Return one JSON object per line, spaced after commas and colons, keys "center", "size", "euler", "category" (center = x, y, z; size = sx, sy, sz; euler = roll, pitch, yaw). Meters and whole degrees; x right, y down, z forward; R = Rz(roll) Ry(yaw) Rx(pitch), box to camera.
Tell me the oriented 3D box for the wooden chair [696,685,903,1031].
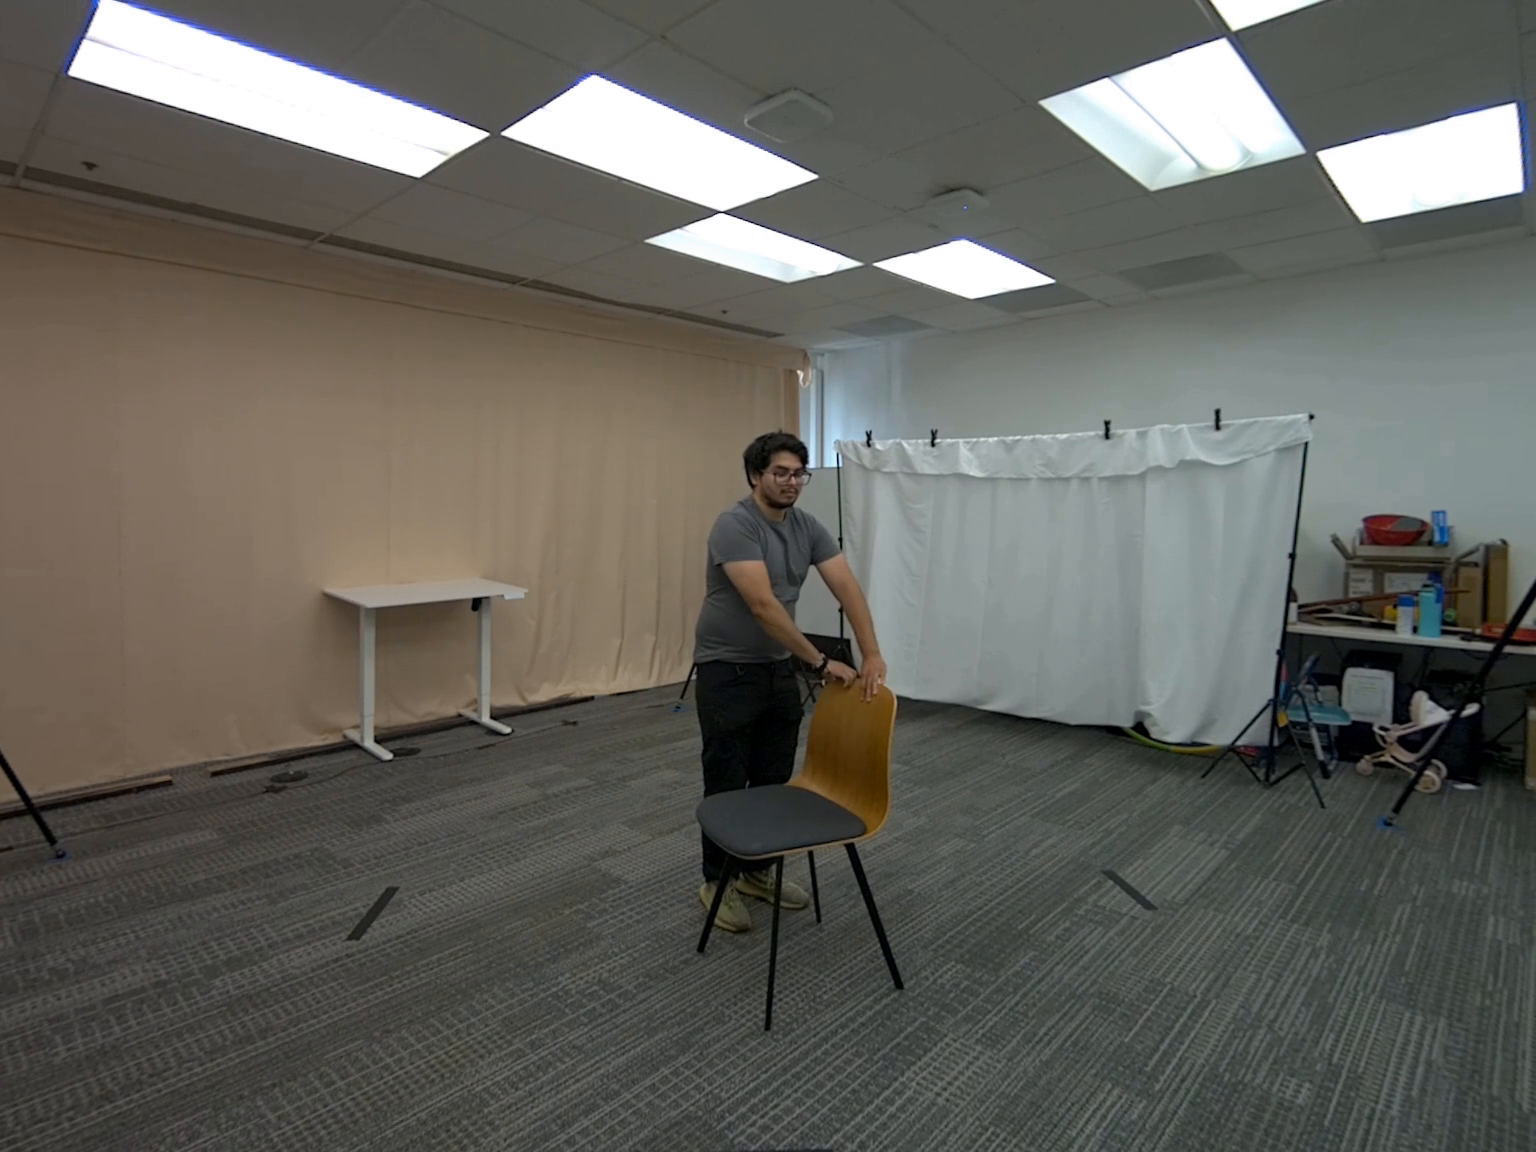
{"center": [0.085, 0.762, 2.492], "size": [0.509, 0.877, 0.491], "euler": [3, 1, -29], "category": "wooden chair"}
